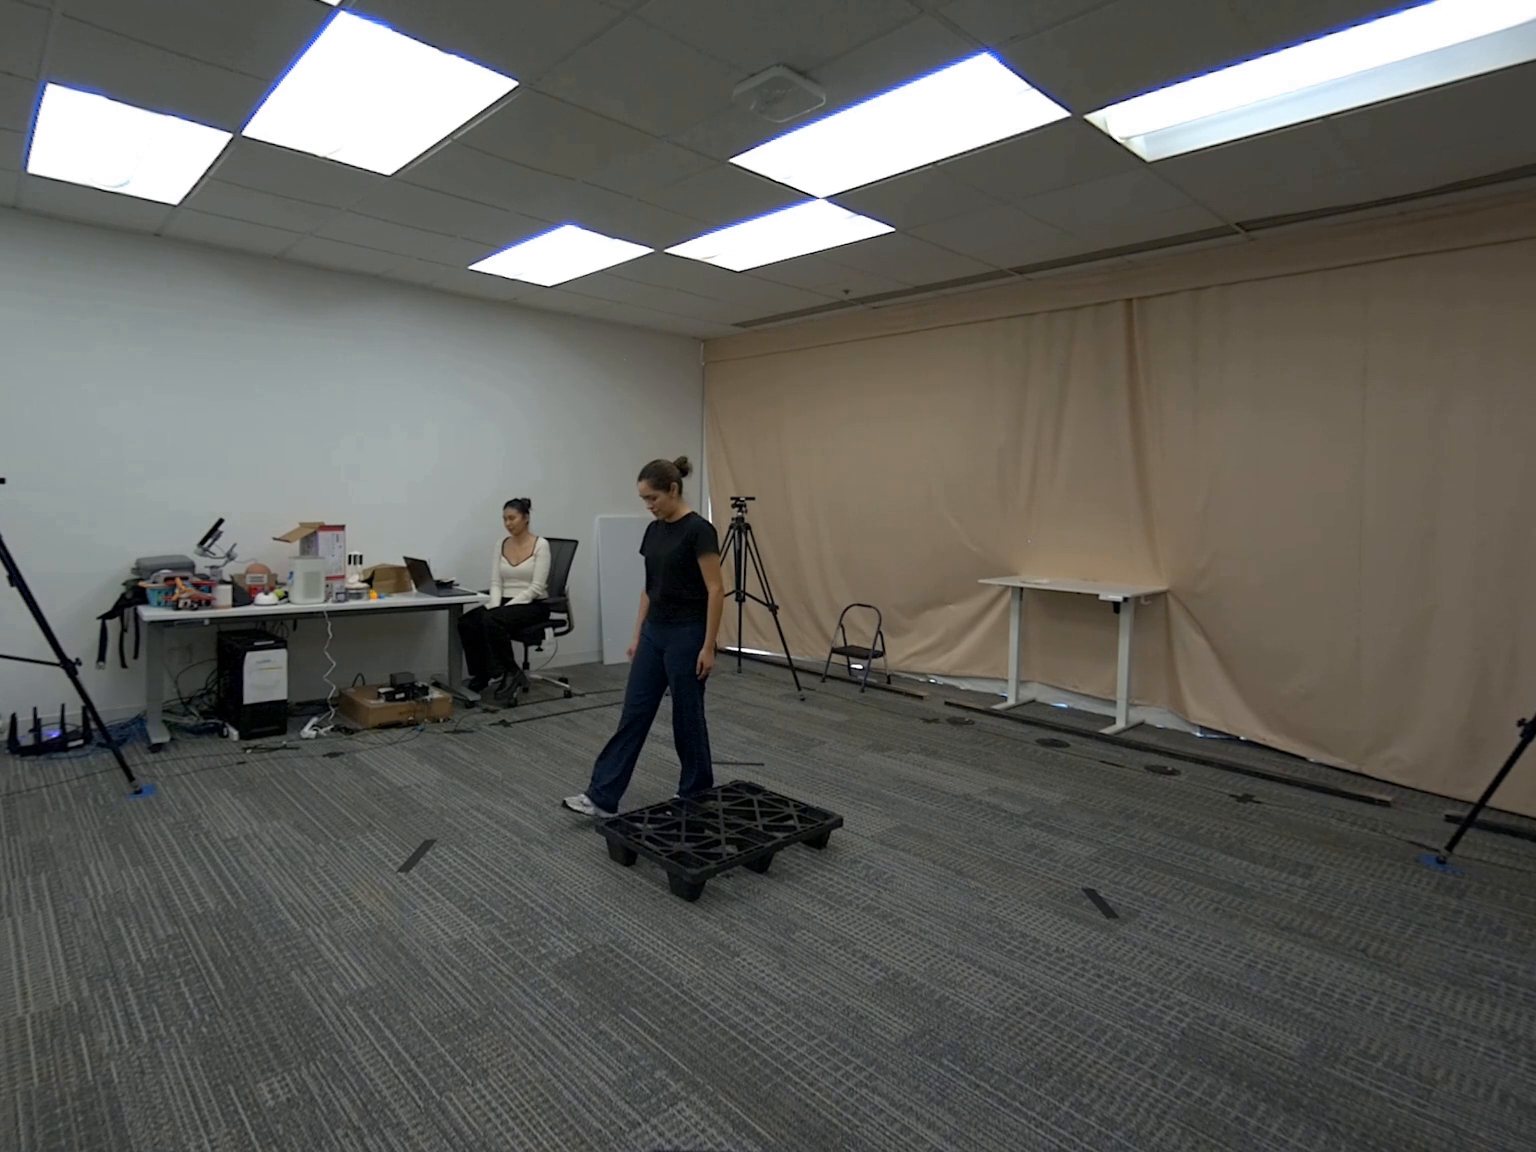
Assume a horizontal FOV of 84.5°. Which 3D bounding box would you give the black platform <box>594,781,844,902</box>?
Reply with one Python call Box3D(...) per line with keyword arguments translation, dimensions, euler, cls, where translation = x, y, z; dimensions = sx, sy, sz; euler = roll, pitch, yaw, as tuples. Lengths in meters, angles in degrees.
Box3D(translation=(-0.192, 1.026, 3.291), dimensions=(0.620, 0.143, 0.787), euler=(6, 7, 44), cls="black platform")
